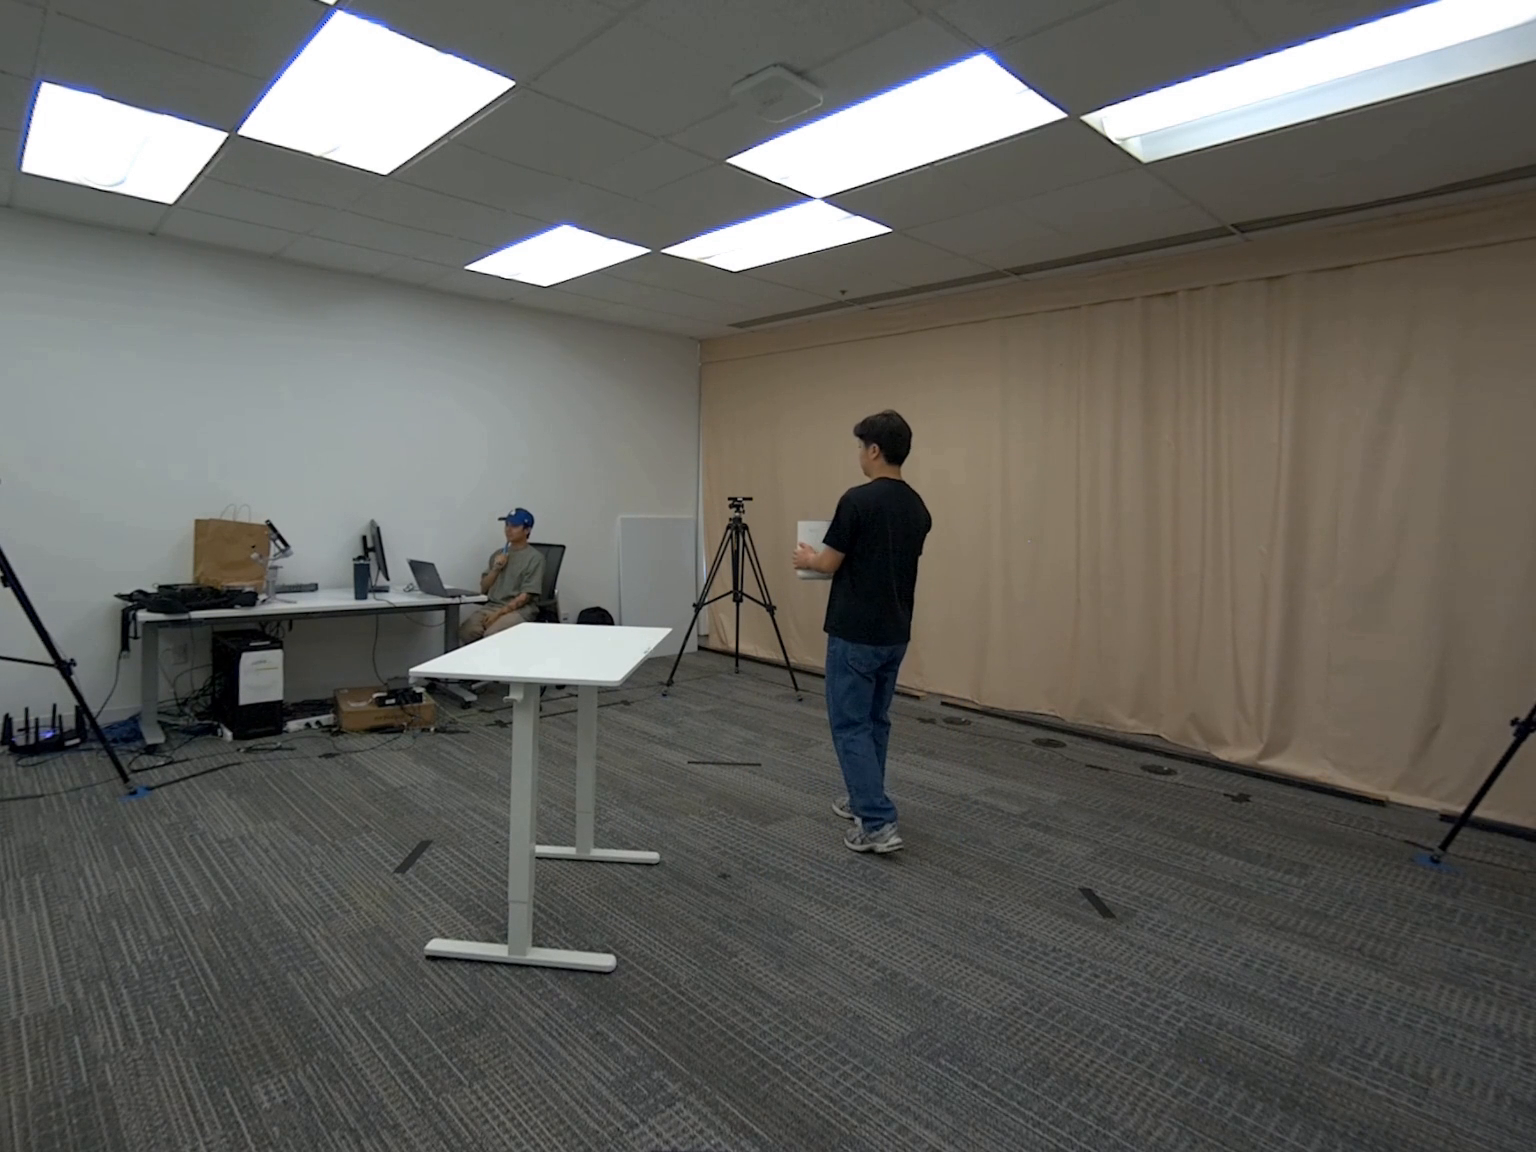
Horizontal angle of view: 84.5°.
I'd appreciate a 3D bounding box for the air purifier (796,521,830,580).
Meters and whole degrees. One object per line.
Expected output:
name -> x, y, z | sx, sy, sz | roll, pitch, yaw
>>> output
air purifier -> 0.225, -0.114, 3.782 | 0.172, 0.265, 0.170 | 1, -1, 8
